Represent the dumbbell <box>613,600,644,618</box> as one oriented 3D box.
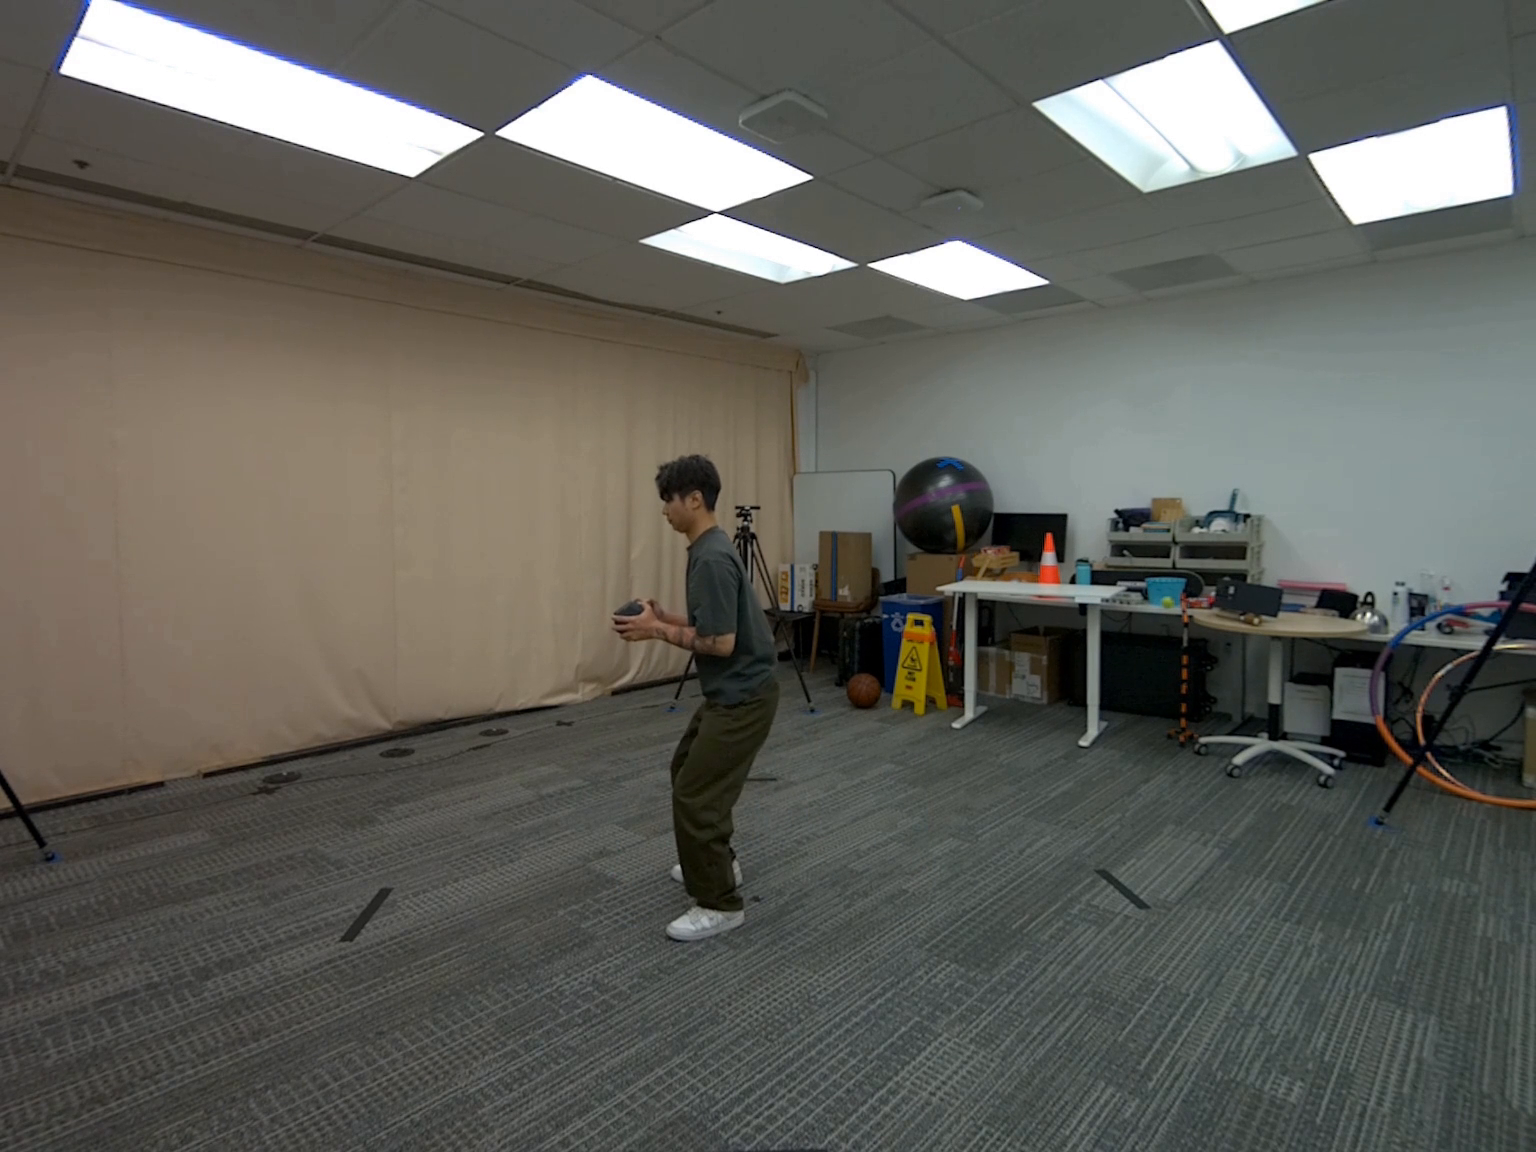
[{"bbox_3d":[-0.445,0.144,2.910,0.122,0.109,0.295,21,-2,-5],"label":"dumbbell"}]
